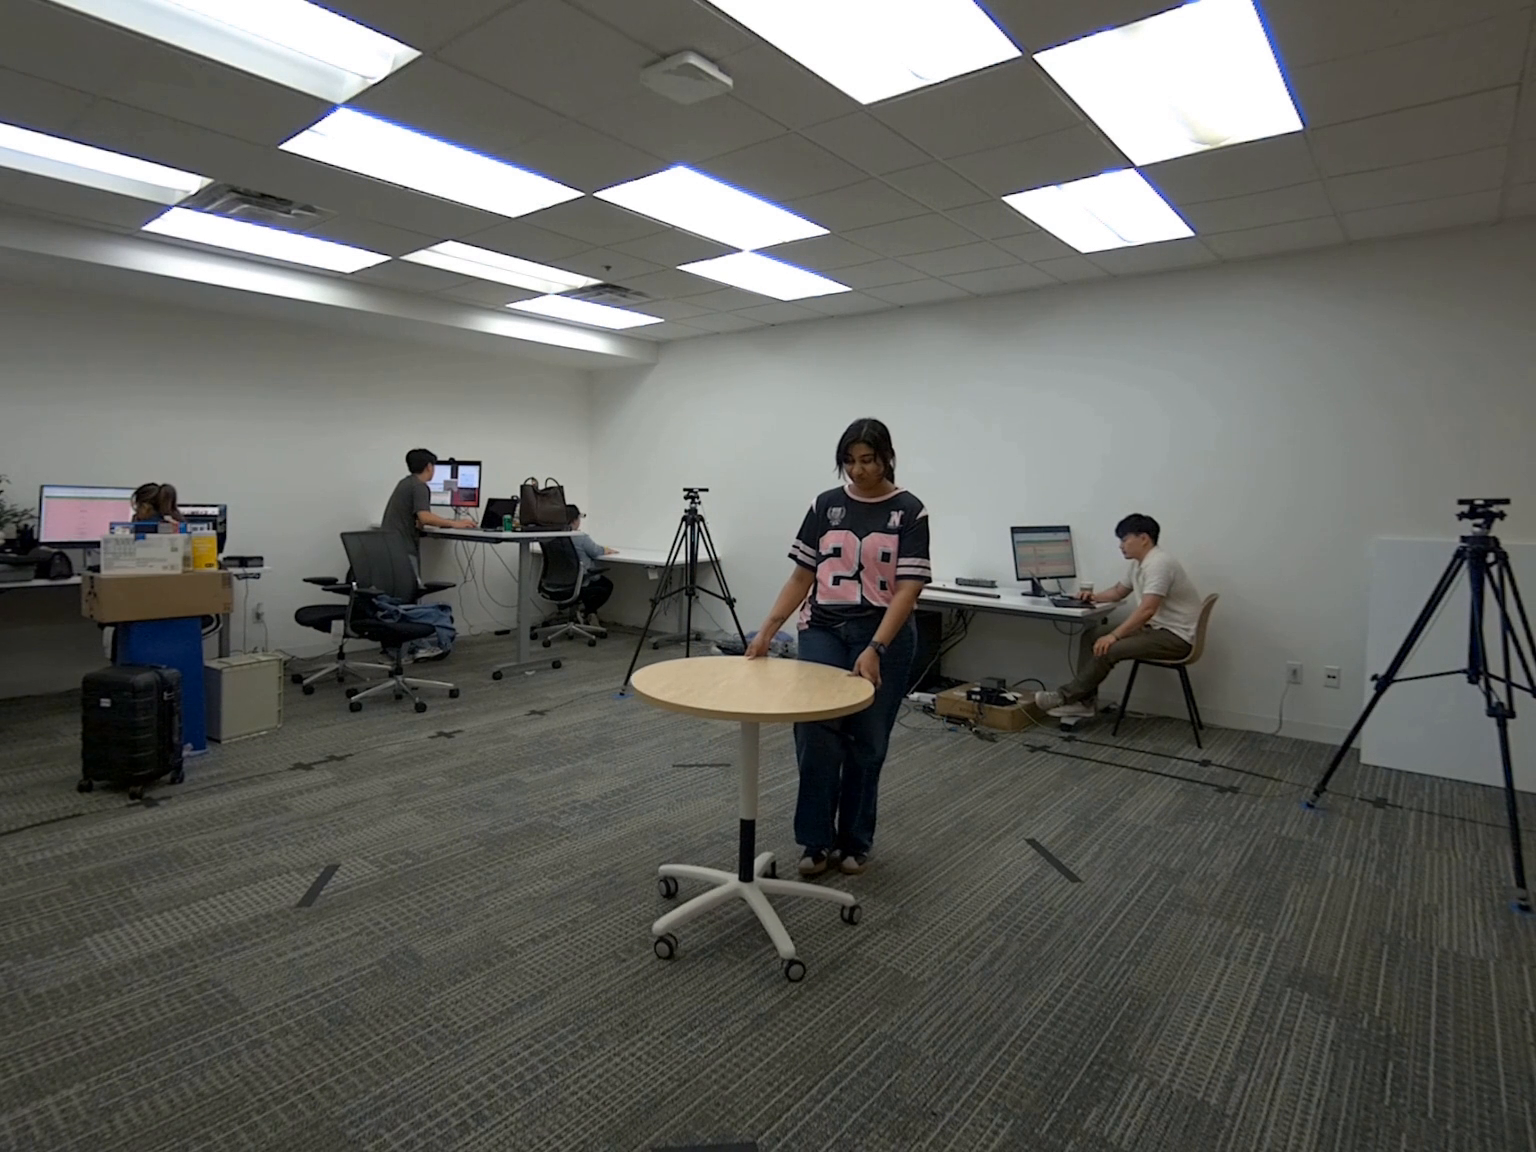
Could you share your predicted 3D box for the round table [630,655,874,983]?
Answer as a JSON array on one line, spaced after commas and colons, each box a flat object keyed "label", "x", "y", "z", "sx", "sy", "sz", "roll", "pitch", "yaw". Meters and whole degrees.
[{"label": "round table", "x": -0.074, "y": 0.720, "z": 2.713, "sx": 0.763, "sy": 0.791, "sz": 0.768, "roll": 1, "pitch": 4, "yaw": -2}]
